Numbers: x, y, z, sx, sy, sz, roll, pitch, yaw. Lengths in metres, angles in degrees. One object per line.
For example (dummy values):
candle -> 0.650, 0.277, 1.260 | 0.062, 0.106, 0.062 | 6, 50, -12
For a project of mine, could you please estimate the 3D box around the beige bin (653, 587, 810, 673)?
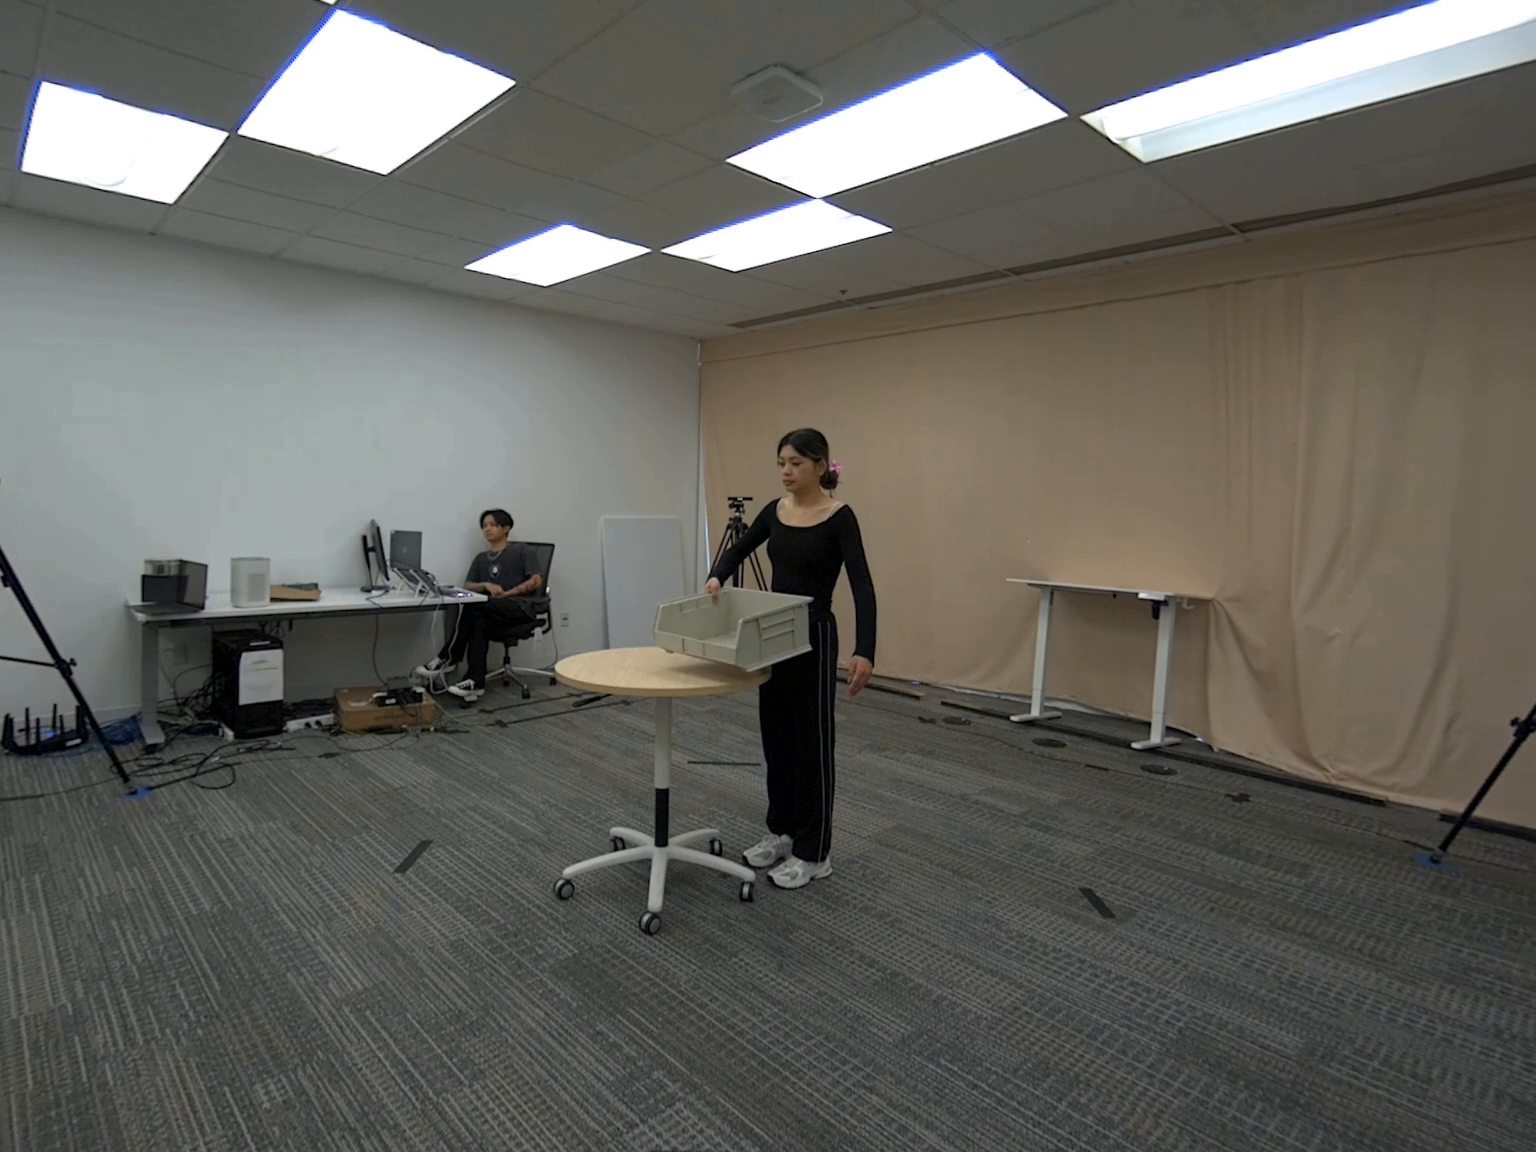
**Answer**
beige bin -> -0.131, 0.178, 2.873 | 0.433, 0.188, 0.370 | 5, 12, 42
